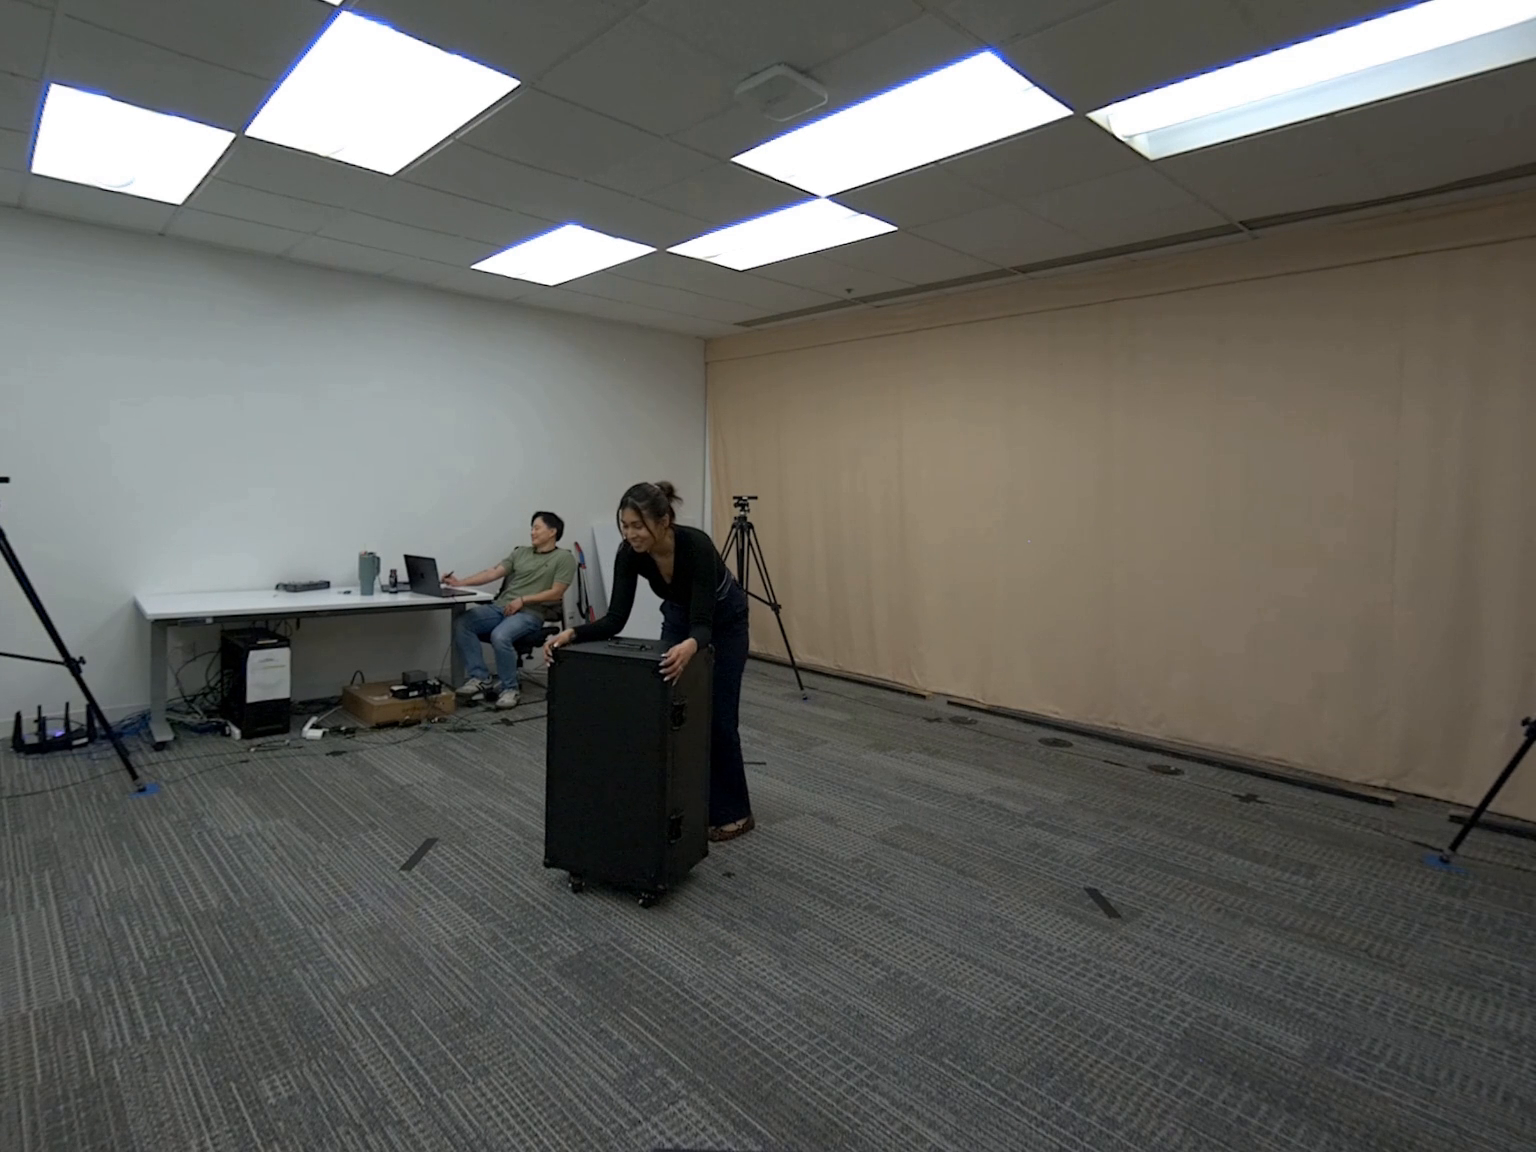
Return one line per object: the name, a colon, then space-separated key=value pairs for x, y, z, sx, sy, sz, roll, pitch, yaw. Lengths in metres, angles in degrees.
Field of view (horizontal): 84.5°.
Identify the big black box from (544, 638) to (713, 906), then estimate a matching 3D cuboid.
big black box: x=-0.506 y=0.679 z=3.032 sx=0.531 sy=0.860 sz=0.390 roll=3 pitch=2 yaw=23
